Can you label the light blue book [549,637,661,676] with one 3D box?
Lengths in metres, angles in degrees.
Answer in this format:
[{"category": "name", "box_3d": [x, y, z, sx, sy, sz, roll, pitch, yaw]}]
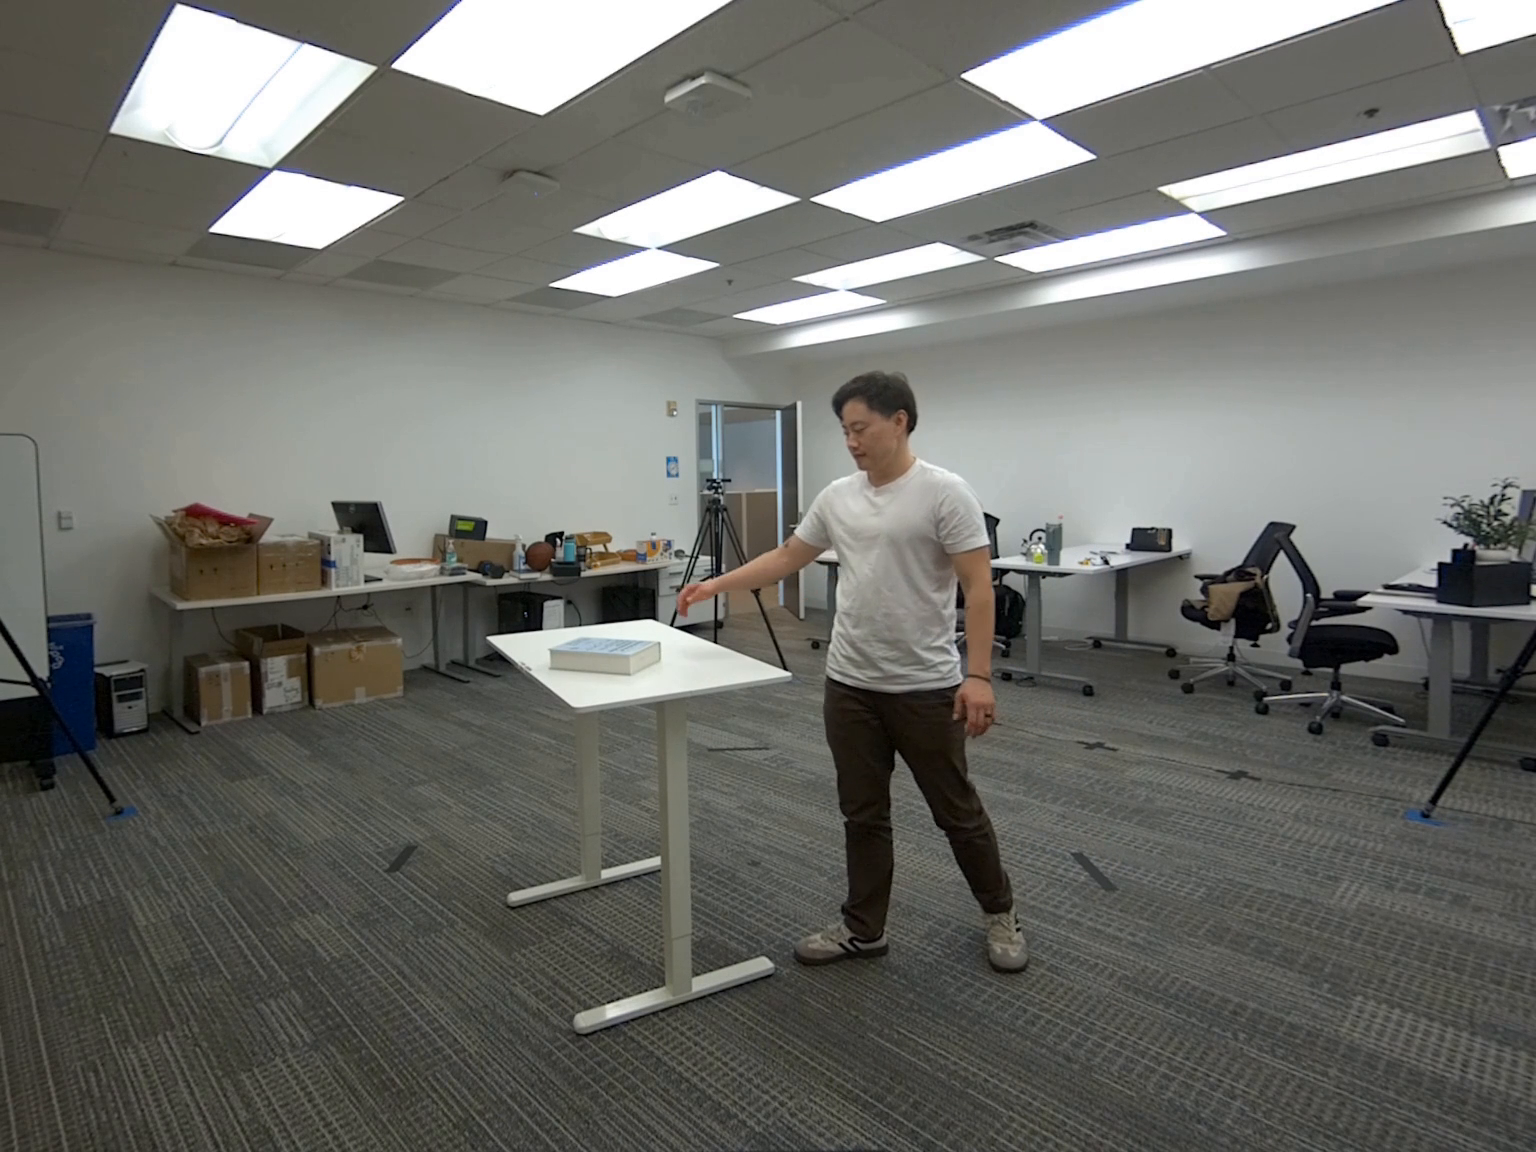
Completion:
[{"category": "light blue book", "box_3d": [-0.452, 0.227, 2.408, 0.266, 0.059, 0.189, 2, 7, 20]}]
